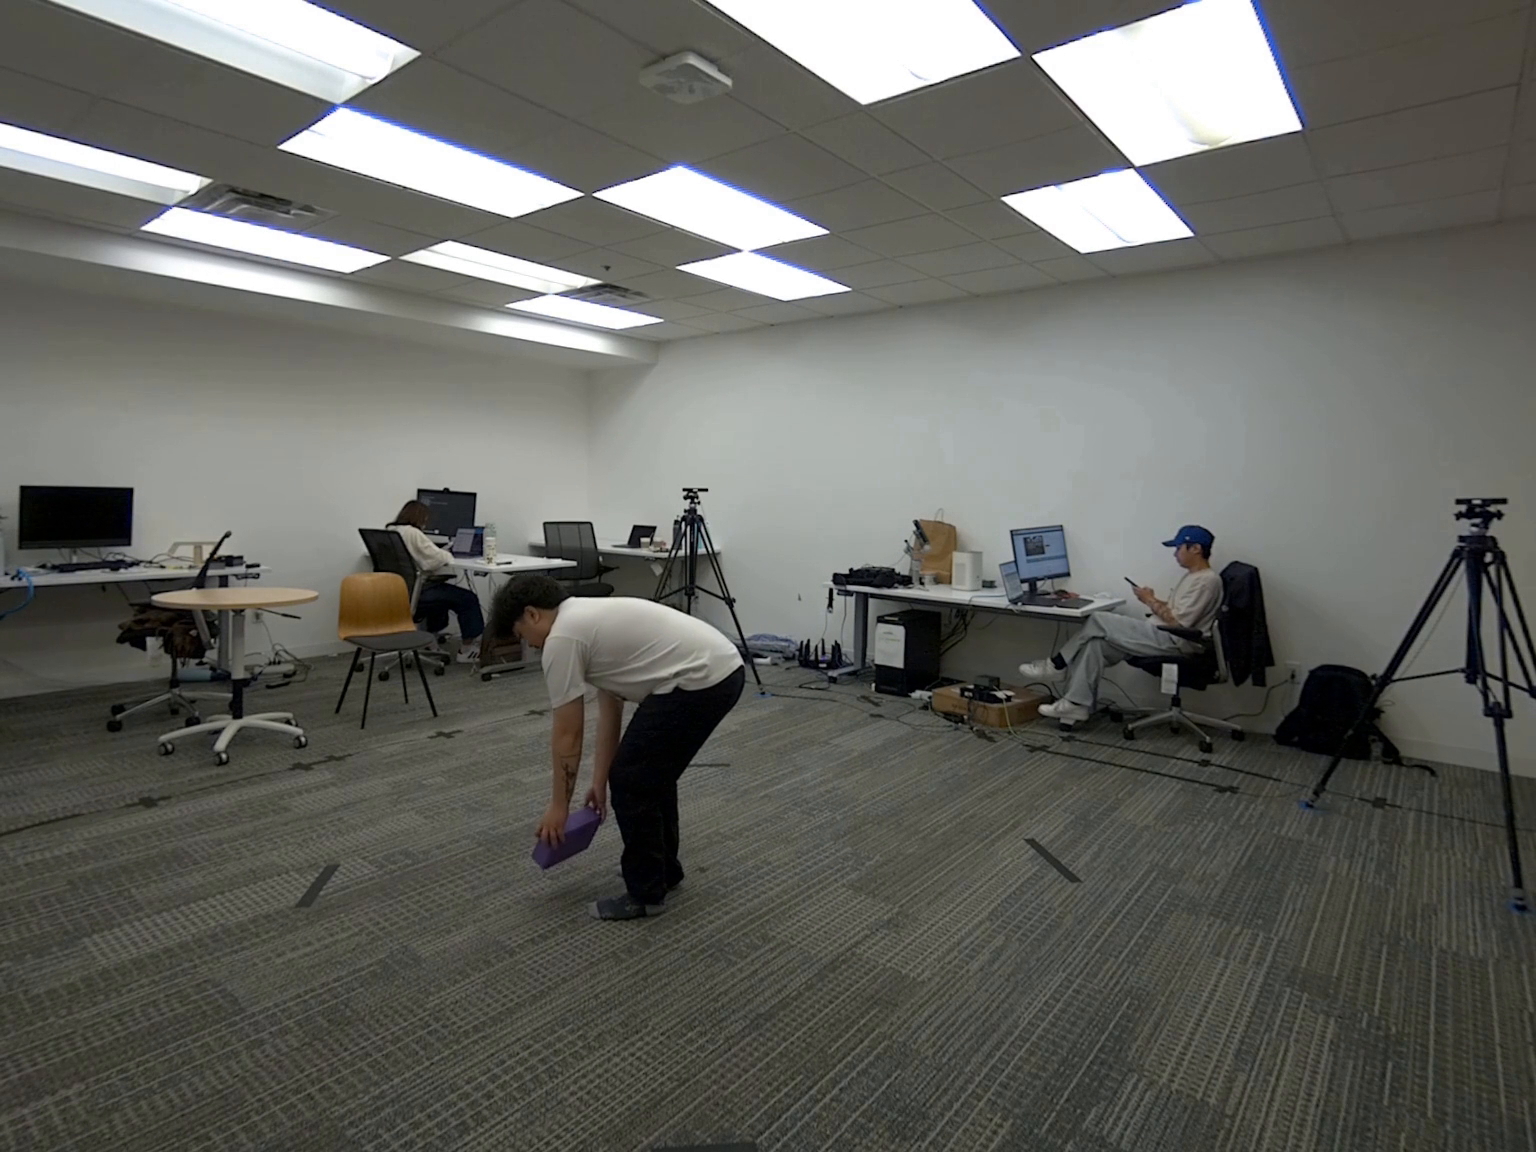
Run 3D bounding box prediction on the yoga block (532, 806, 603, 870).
[{"bbox_3d":[-0.700,0.888,2.919,0.079,0.148,0.223,32,19,25],"label":"yoga block"}]
